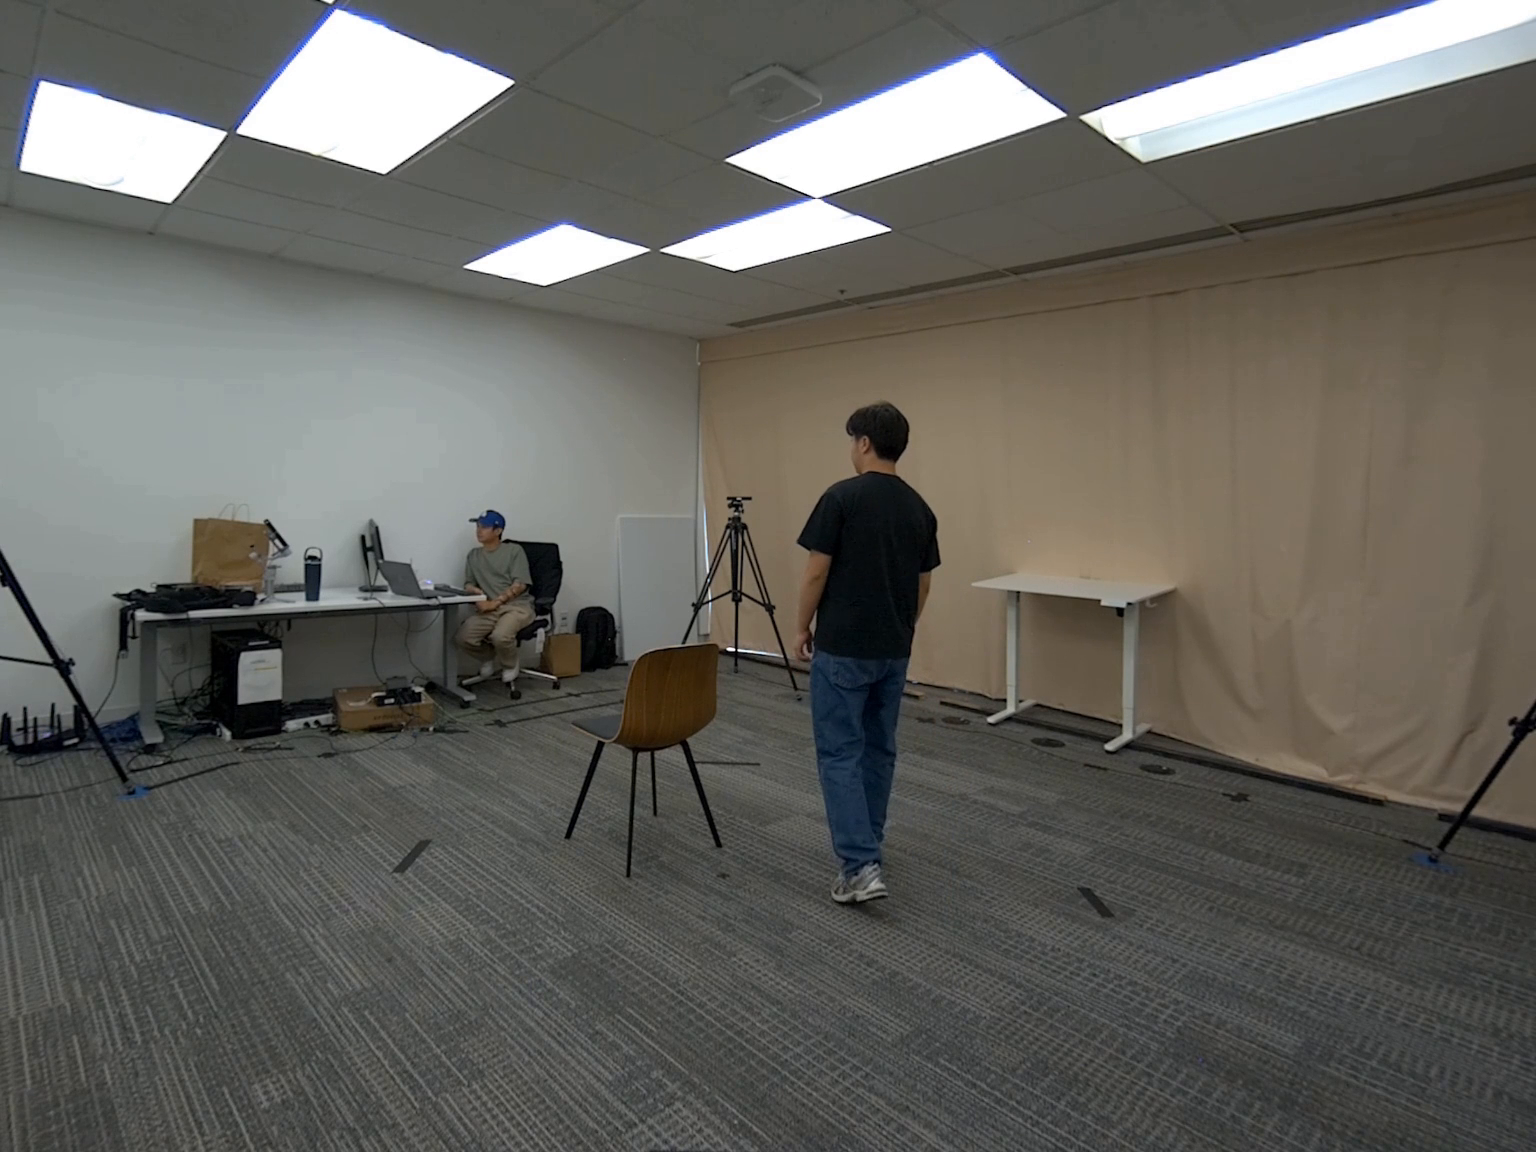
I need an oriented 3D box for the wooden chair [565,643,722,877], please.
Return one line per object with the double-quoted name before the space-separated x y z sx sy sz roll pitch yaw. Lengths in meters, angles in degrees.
"wooden chair" -0.497 0.647 3.351 0.467 0.873 0.537 -2 9 -42
